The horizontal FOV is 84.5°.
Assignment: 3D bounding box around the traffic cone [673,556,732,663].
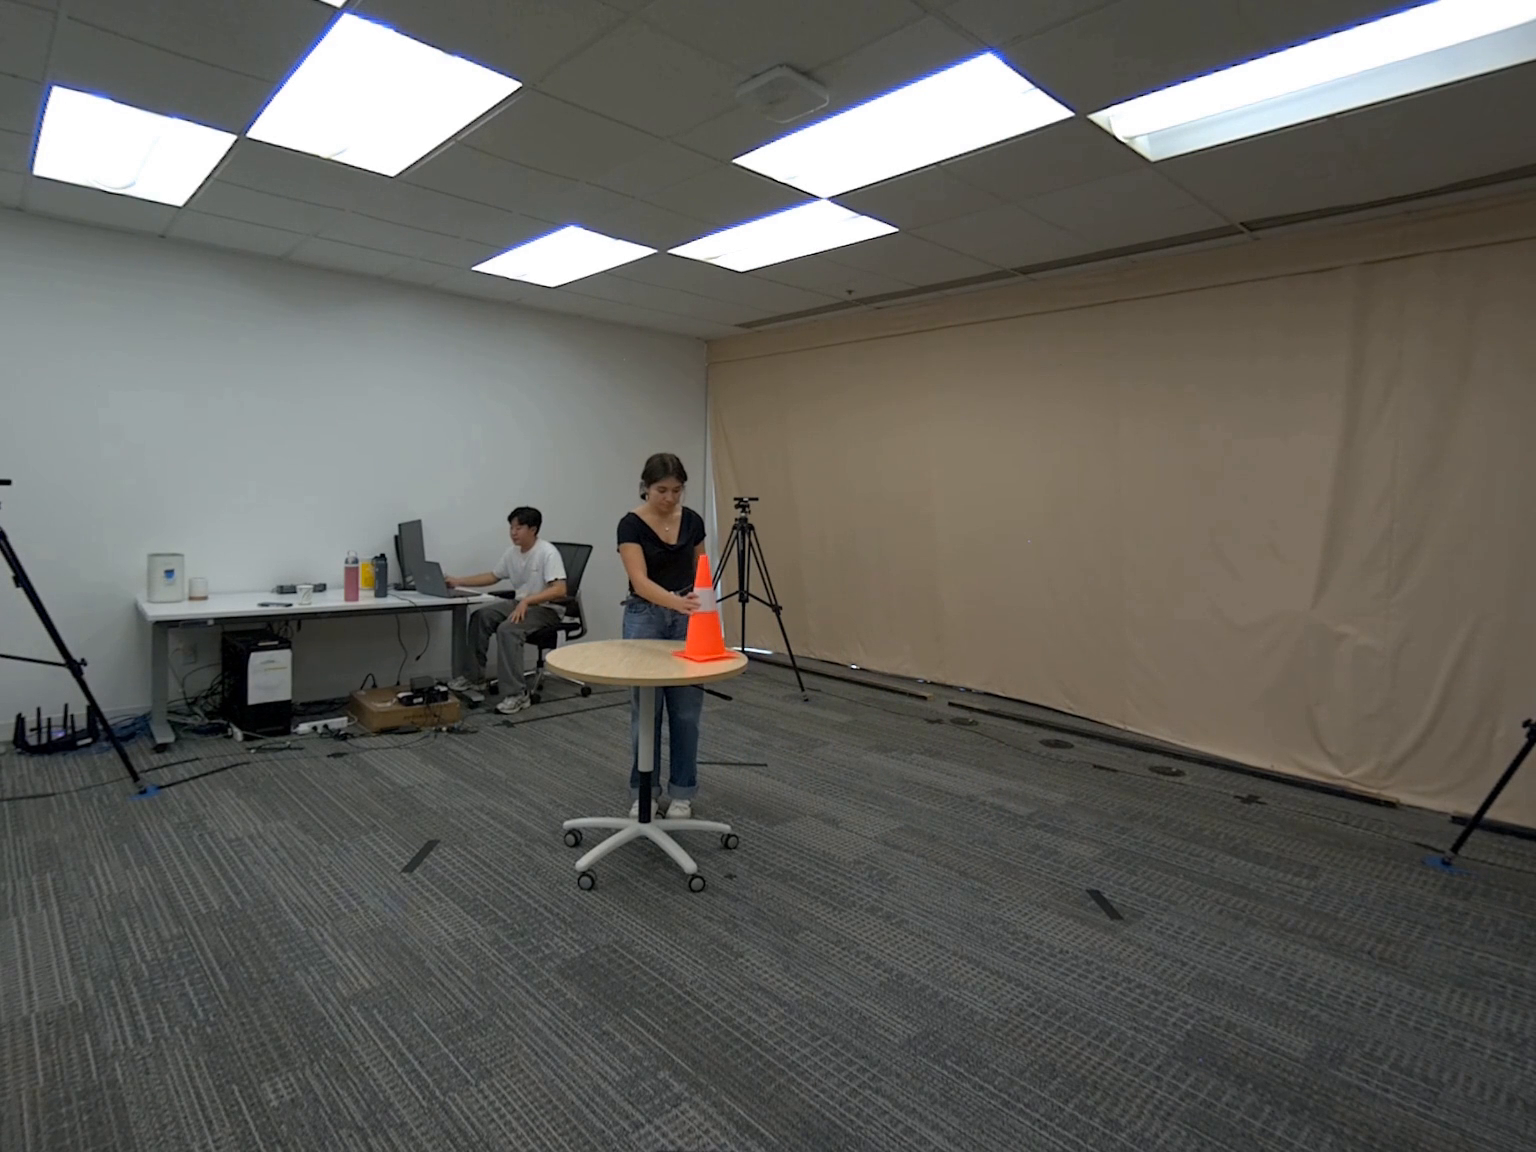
[{"bbox_3d":[-0.254,0.114,3.238,0.200,0.383,0.208,-1,3,-45],"label":"traffic cone"}]
